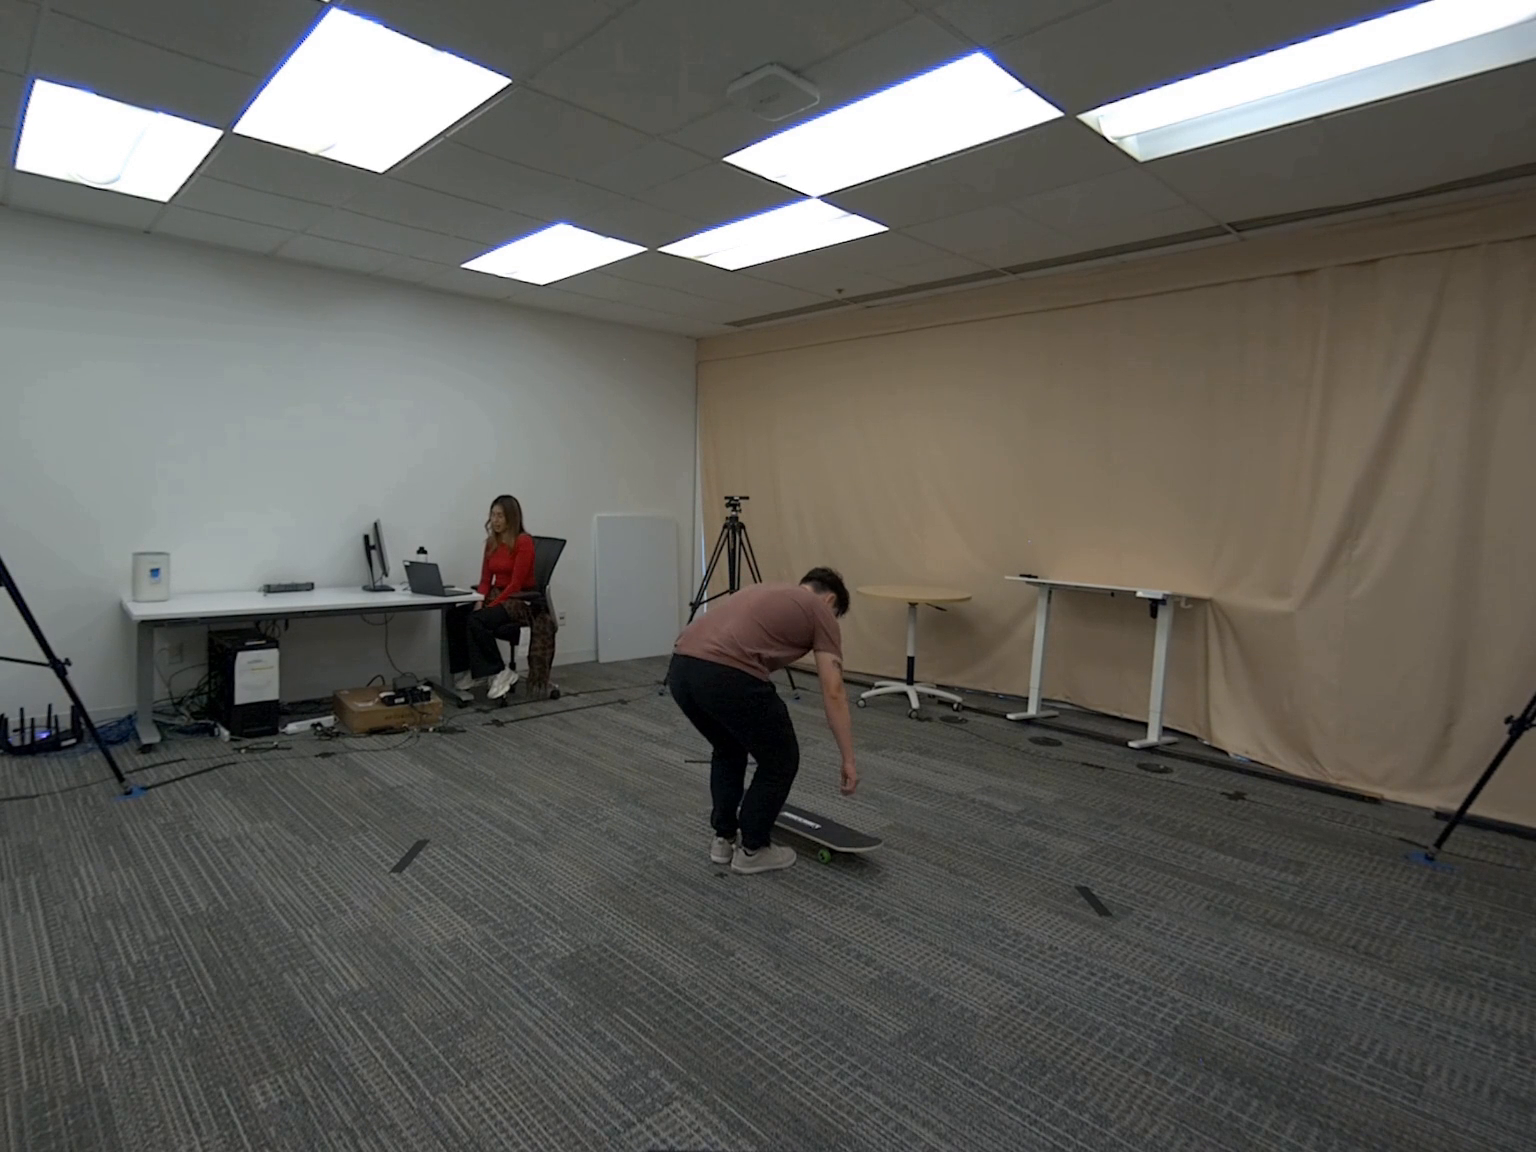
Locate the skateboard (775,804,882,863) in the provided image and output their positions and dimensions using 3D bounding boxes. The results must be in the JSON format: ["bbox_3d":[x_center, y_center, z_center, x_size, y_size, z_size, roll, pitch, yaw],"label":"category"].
[{"bbox_3d":[0.129,1.029,3.434,0.189,0.110,0.806,-1,5,-43],"label":"skateboard"}]
